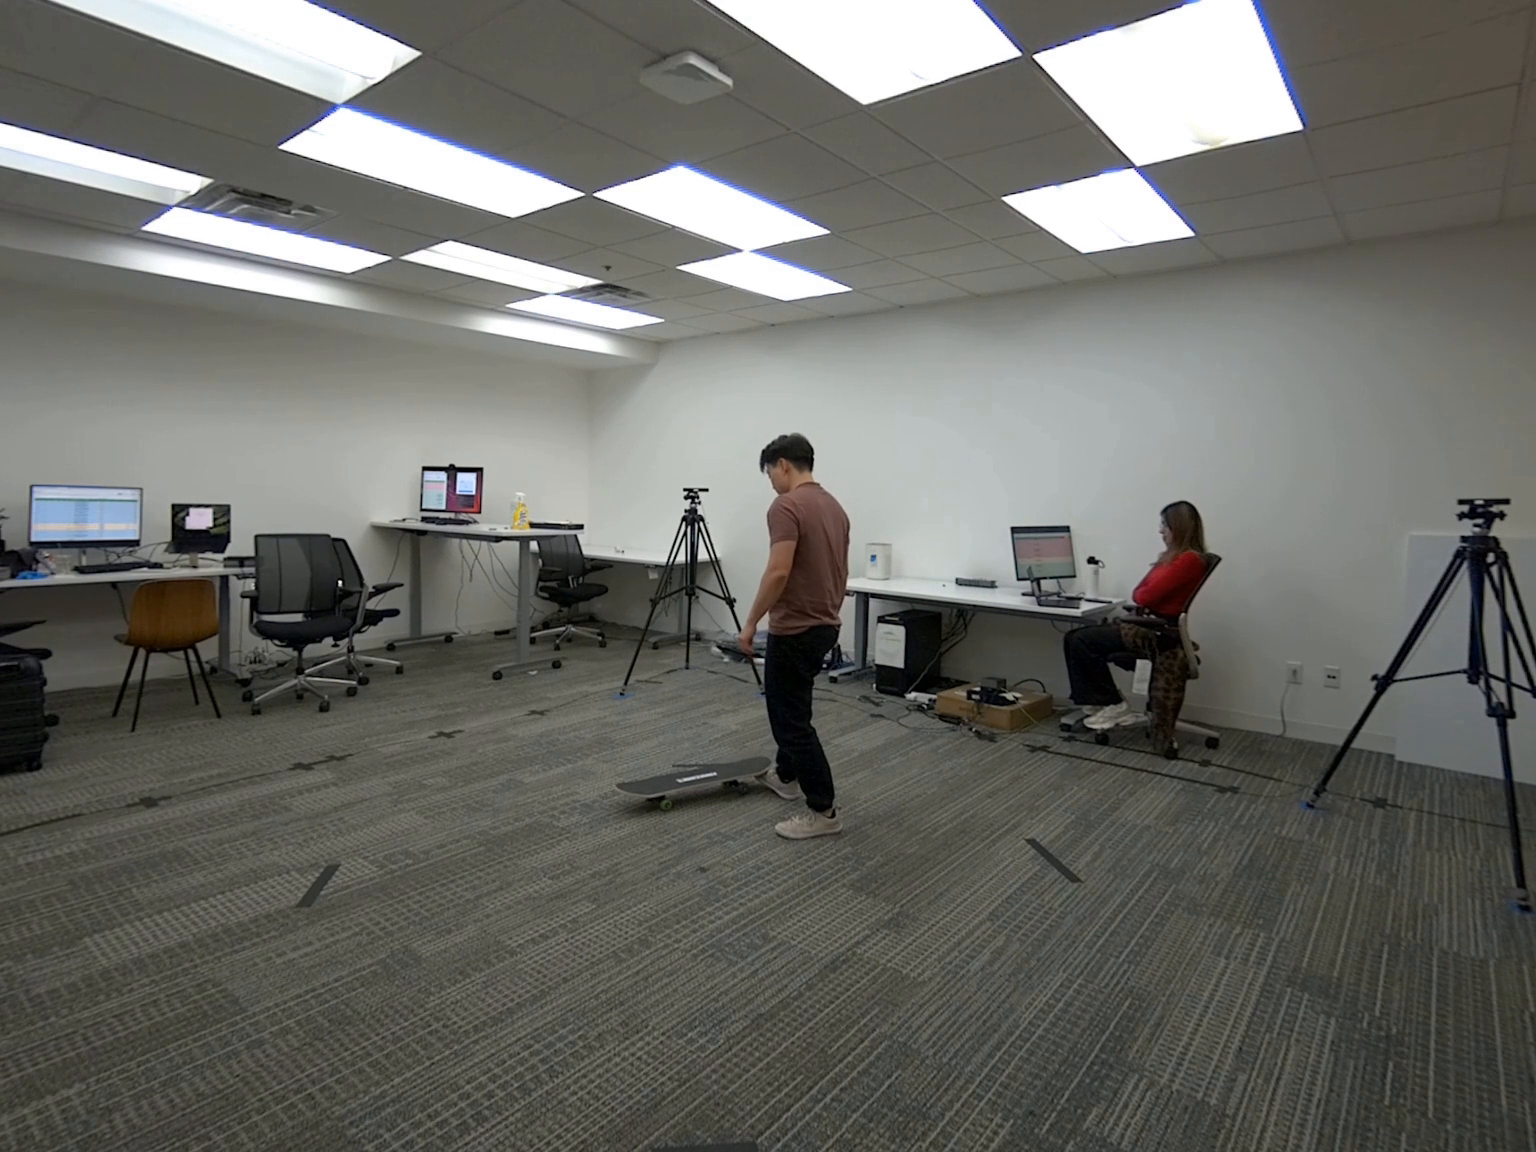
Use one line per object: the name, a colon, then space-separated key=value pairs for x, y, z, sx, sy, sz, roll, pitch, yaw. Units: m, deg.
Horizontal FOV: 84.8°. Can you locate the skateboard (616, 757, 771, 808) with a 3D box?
skateboard: x=-0.332 y=0.941 z=3.844 sx=0.765 sy=0.110 sz=0.199 roll=-4 pitch=7 yaw=-31
